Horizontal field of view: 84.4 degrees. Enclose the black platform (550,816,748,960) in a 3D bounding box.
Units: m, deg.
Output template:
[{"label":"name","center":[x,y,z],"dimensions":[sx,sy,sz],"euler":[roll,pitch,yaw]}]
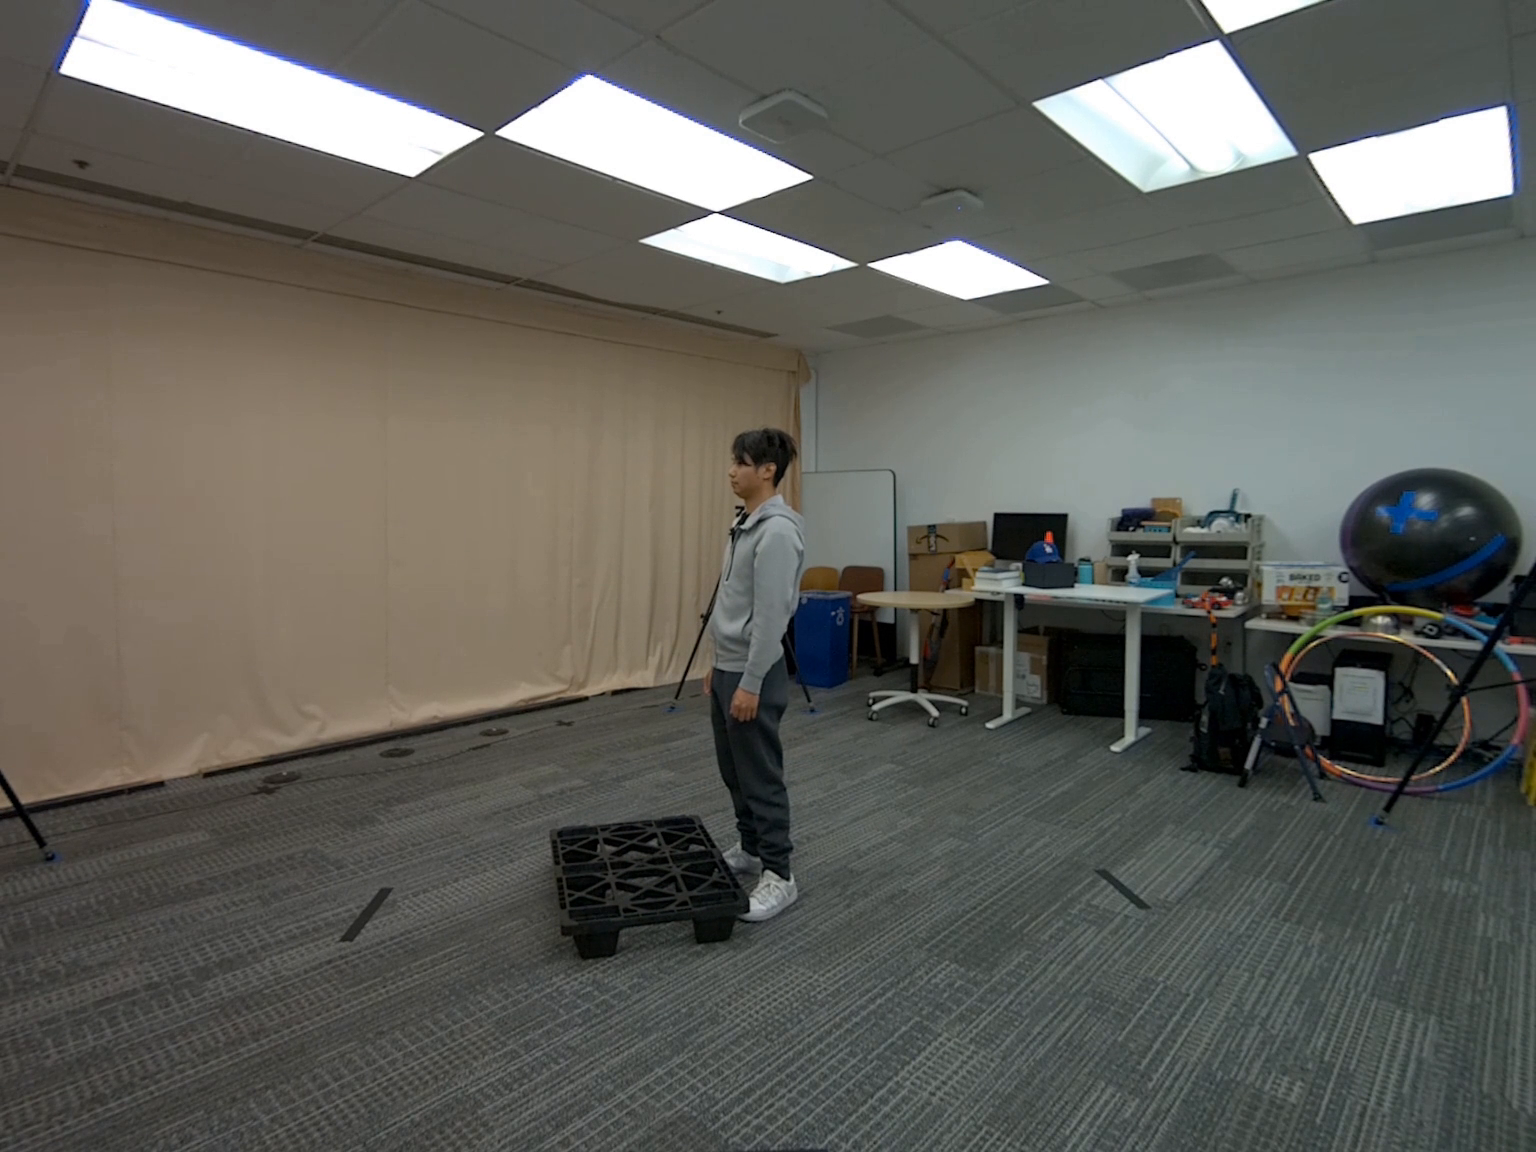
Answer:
[{"label":"black platform","center":[-0.458,1.079,2.988],"dimensions":[0.596,0.143,0.820],"euler":[-2,5,-15]}]
